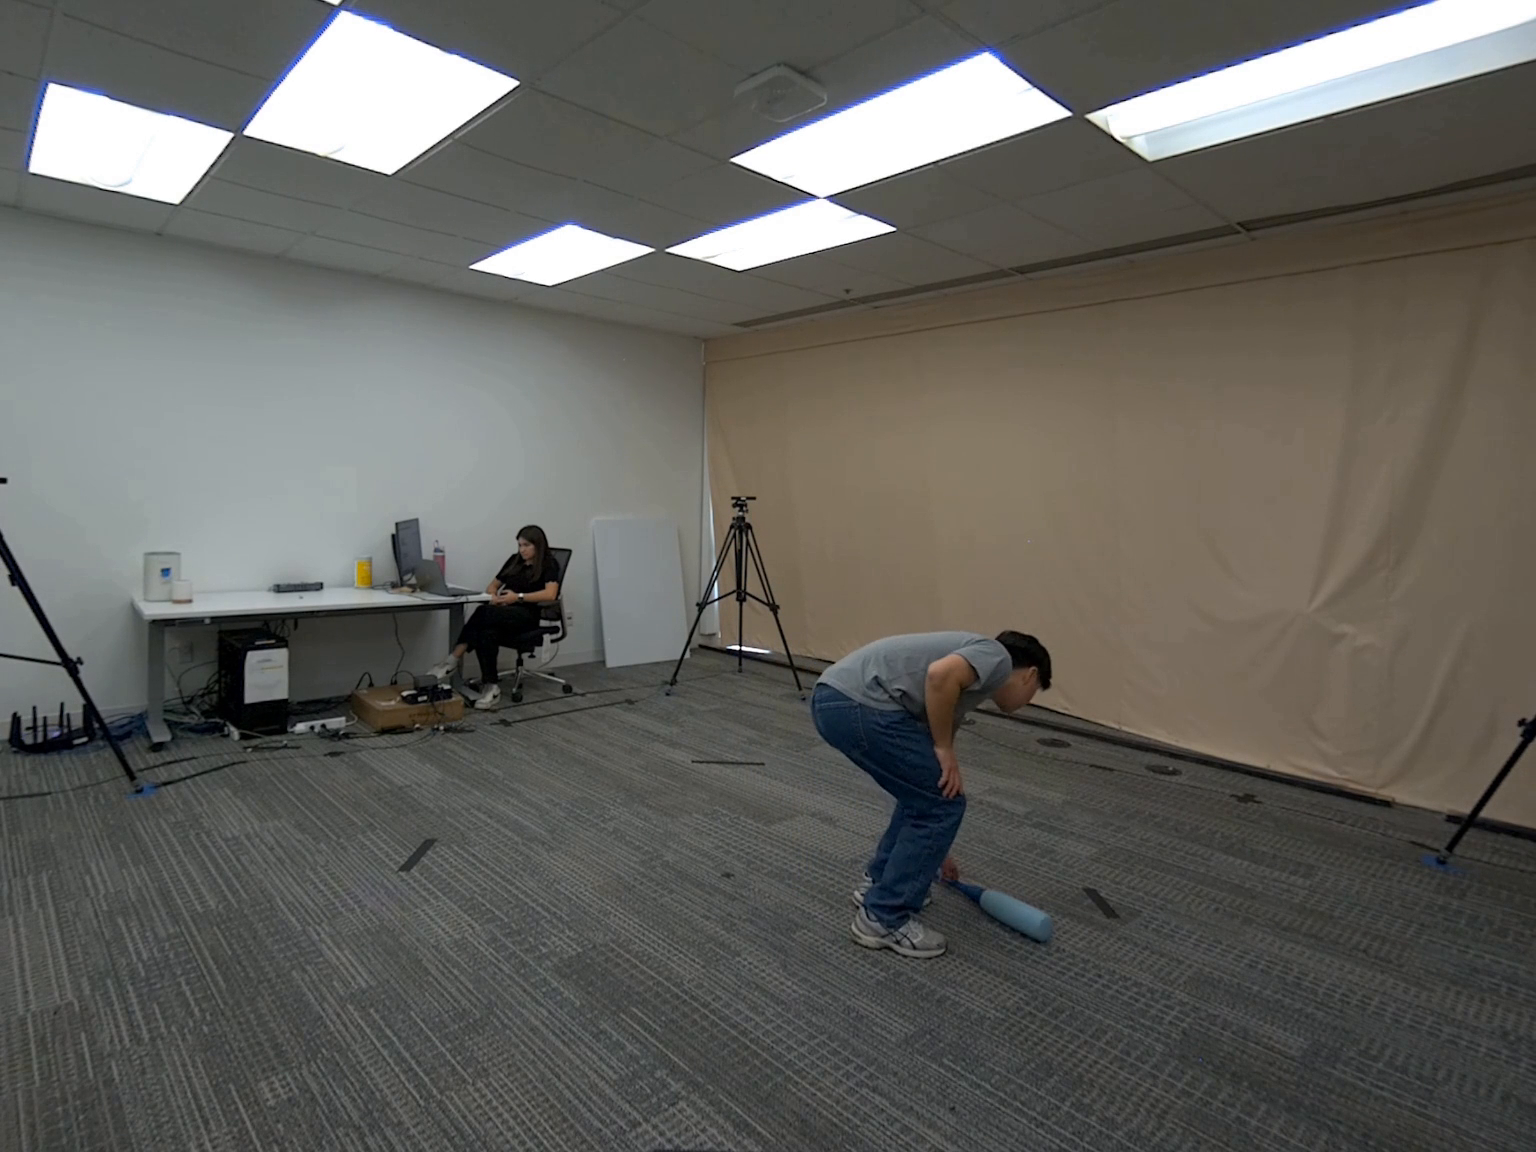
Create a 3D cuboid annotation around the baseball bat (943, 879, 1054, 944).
[{"bbox_3d":[0.731,1.108,2.895,0.087,0.089,0.555,-1,3,-31],"label":"baseball bat"}]
